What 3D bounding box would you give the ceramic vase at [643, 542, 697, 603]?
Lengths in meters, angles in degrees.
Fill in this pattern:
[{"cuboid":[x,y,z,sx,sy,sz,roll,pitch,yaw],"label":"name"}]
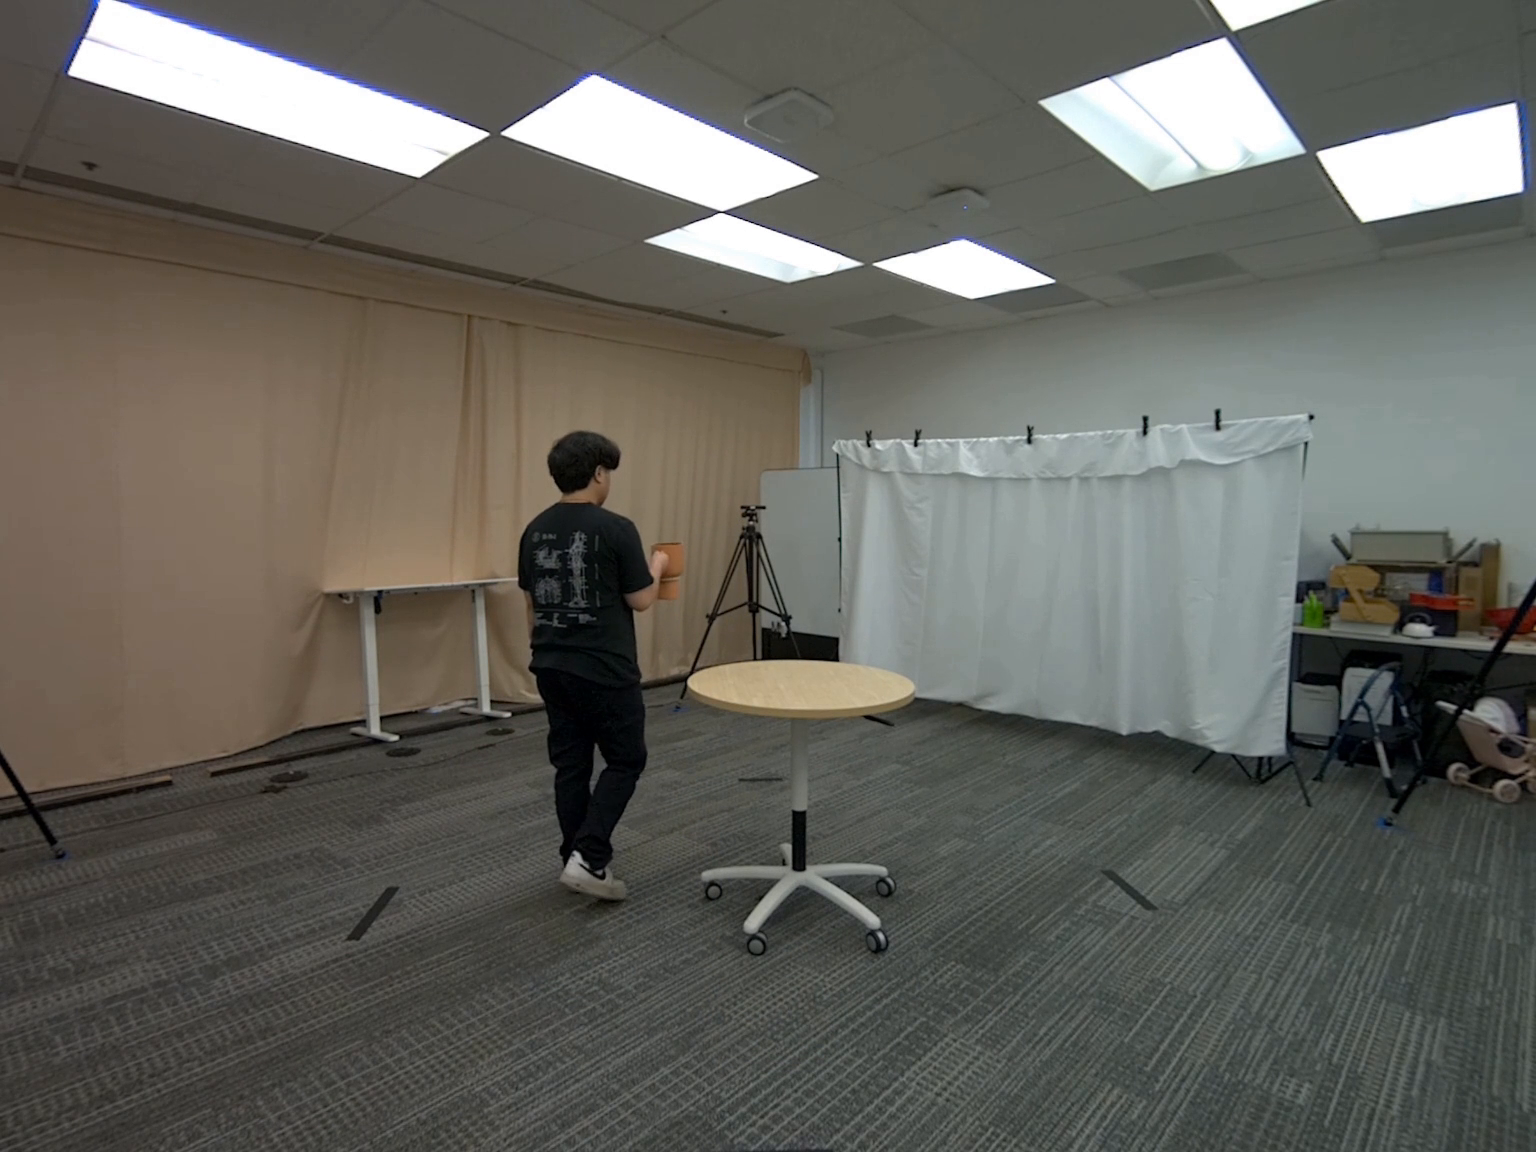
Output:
[{"cuboid":[-0.396,-0.020,3.389,0.154,0.219,0.139,-6,6,-37],"label":"ceramic vase"}]
